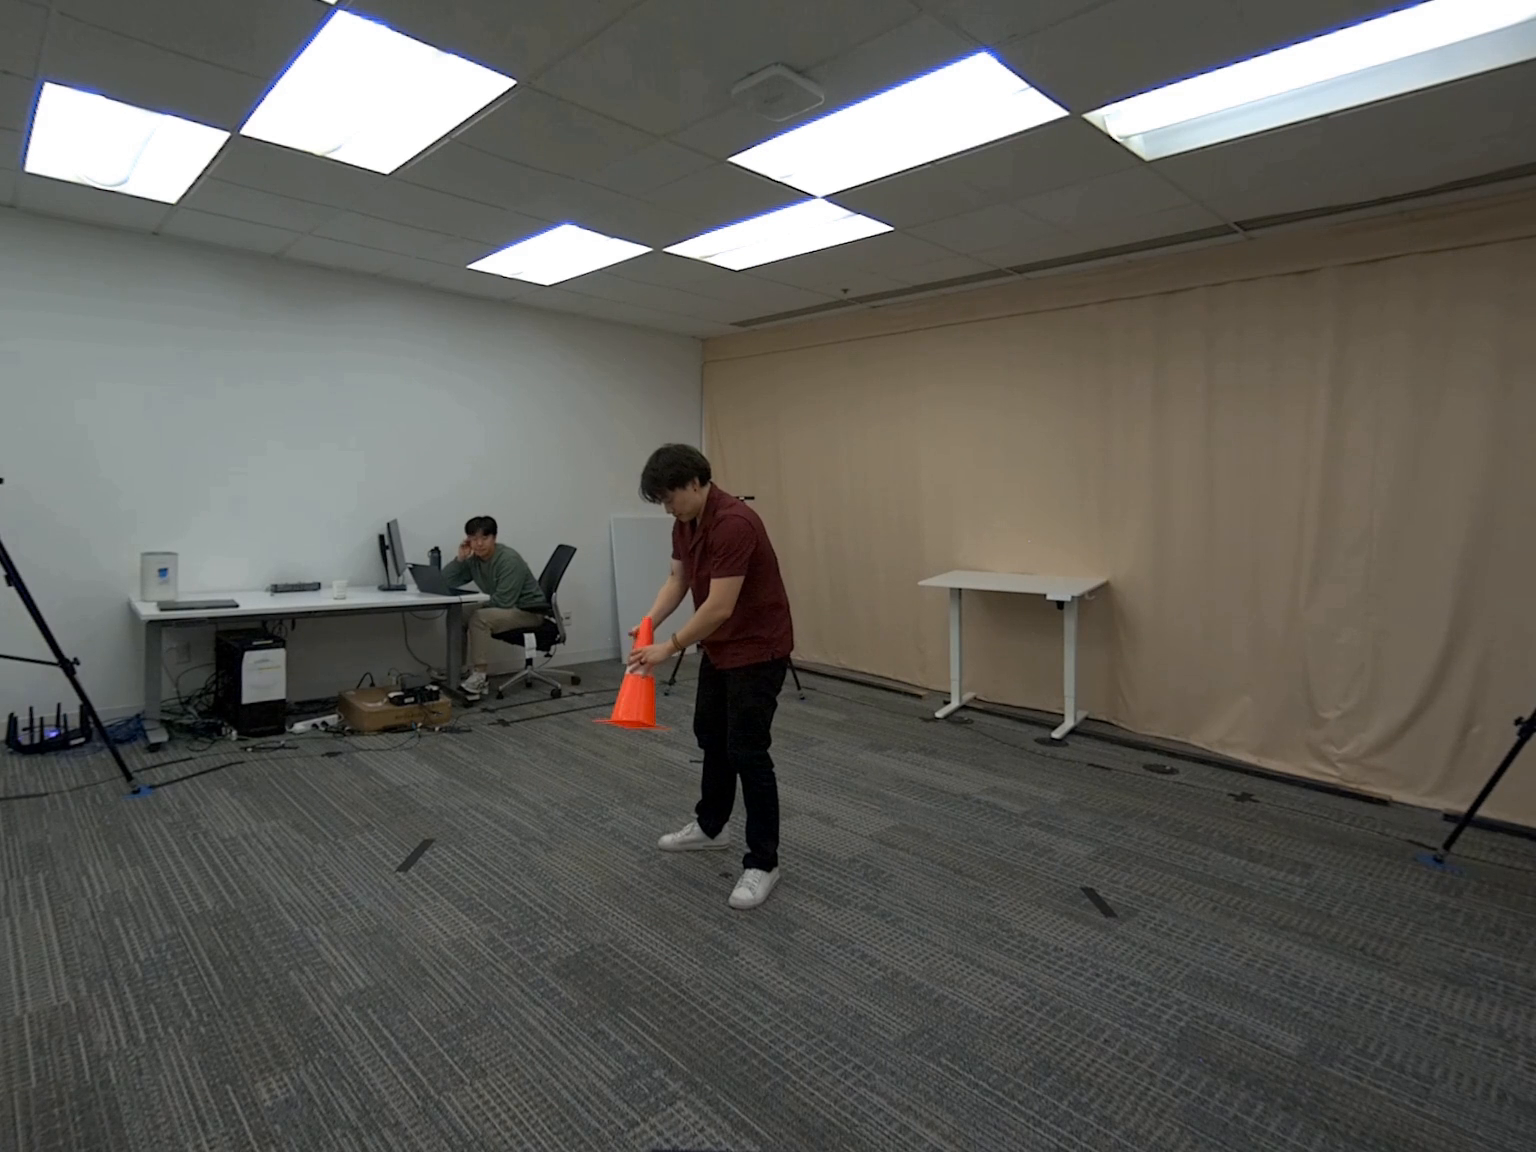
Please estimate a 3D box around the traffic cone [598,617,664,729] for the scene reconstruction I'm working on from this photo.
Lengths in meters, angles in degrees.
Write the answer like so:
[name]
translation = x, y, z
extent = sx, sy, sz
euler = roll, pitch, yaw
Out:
[traffic cone]
translation = -0.460, 0.336, 2.970
extent = 0.209, 0.388, 0.197
euler = -11, -24, 38
